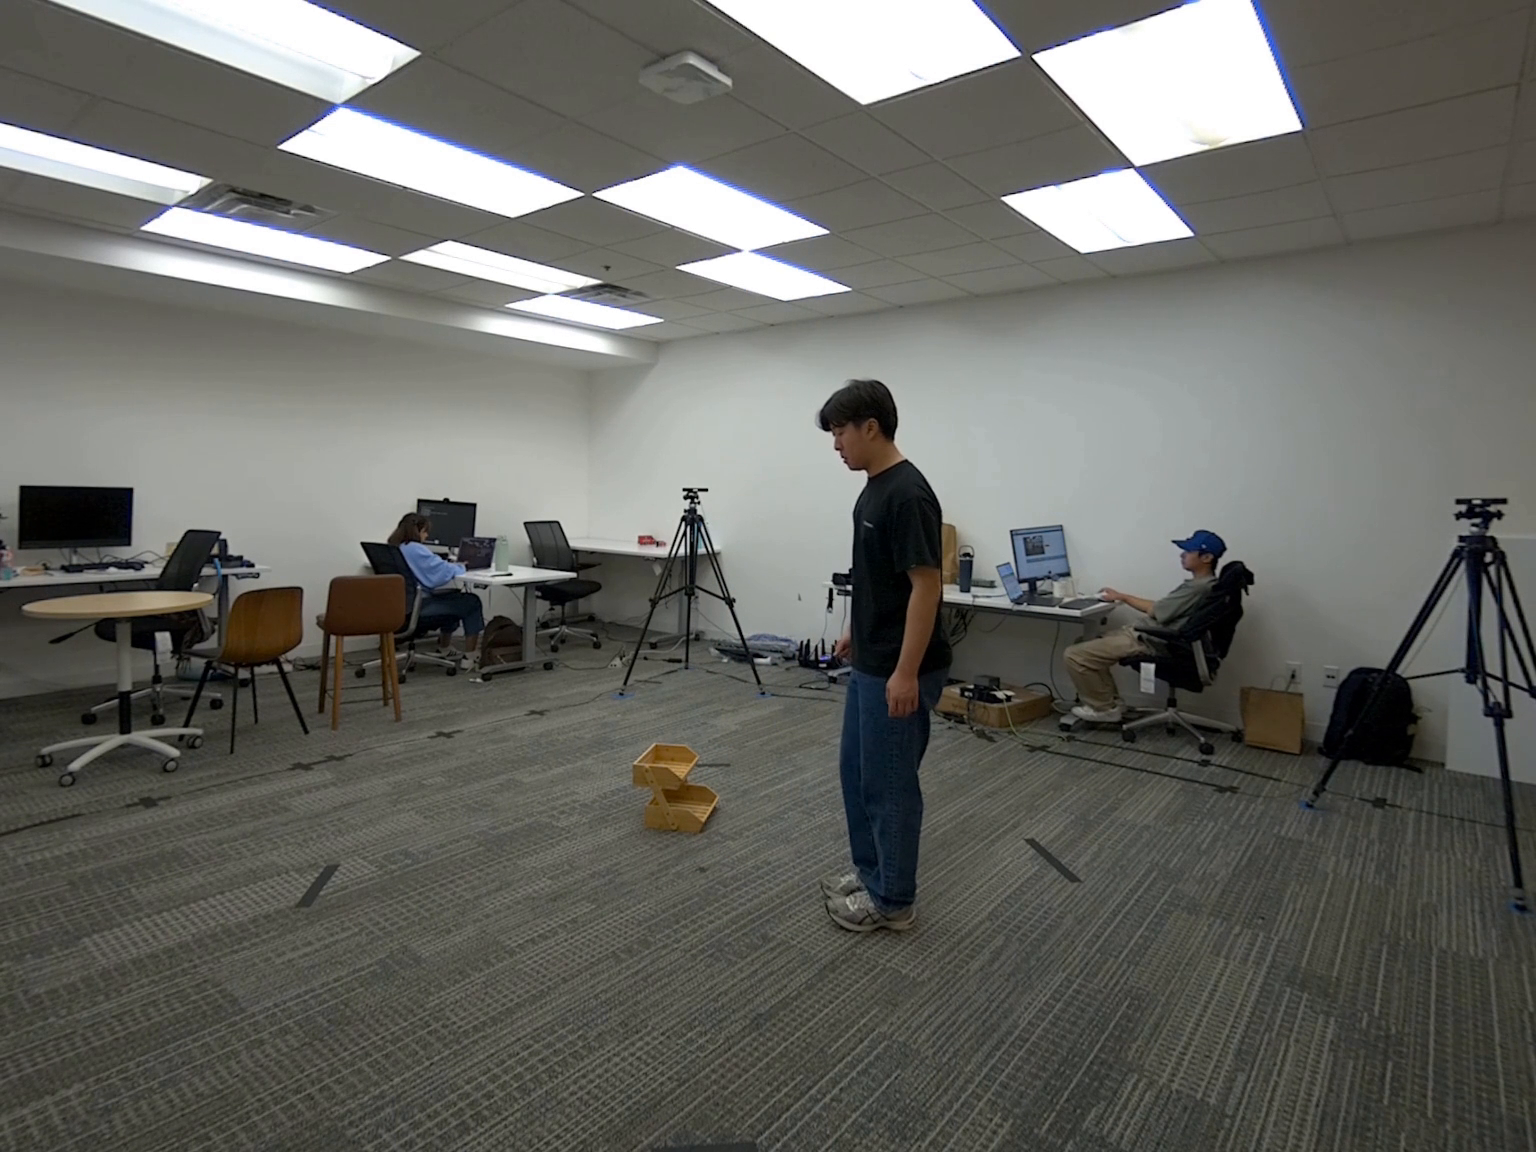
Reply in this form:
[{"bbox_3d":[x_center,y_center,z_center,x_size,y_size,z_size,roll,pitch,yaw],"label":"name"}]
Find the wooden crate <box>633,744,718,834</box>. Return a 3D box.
[{"bbox_3d":[-0.390,0.882,3.606,0.306,0.272,0.322,1,4,10],"label":"wooden crate"}]
